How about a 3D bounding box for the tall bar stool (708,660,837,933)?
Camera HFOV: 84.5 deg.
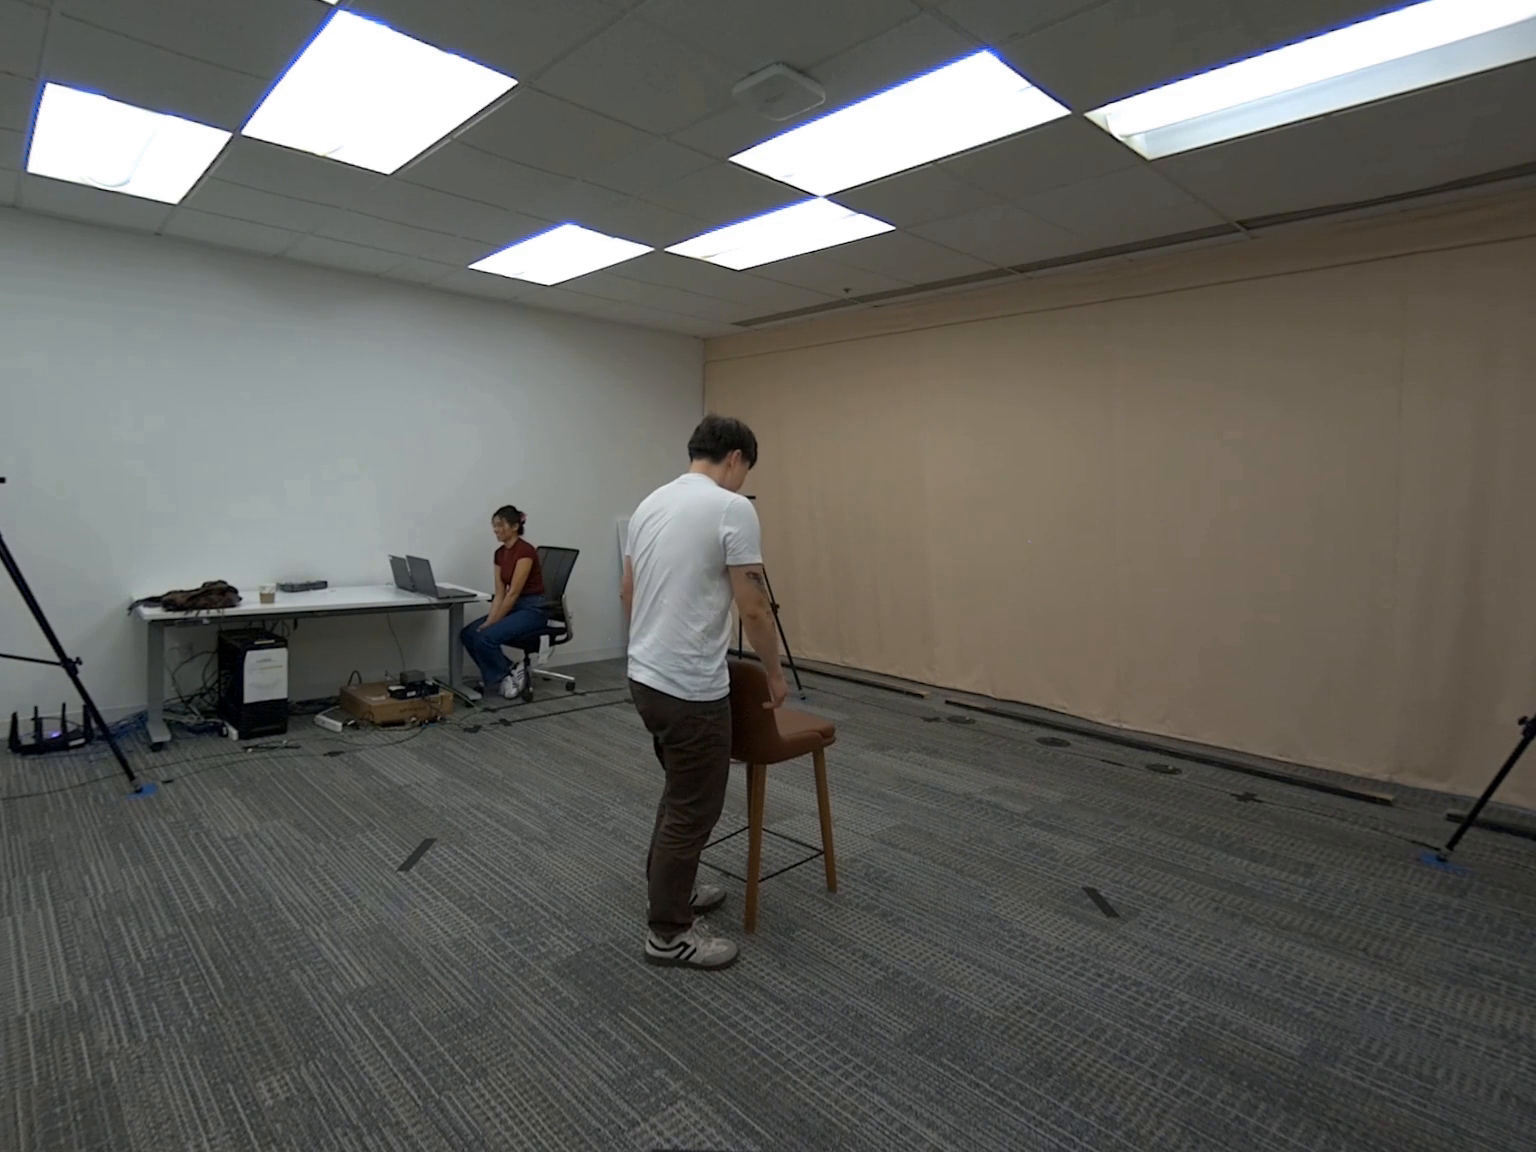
[{"bbox_3d":[-0.051,0.680,2.937,0.468,0.886,0.458,5,8,42],"label":"tall bar stool"}]
